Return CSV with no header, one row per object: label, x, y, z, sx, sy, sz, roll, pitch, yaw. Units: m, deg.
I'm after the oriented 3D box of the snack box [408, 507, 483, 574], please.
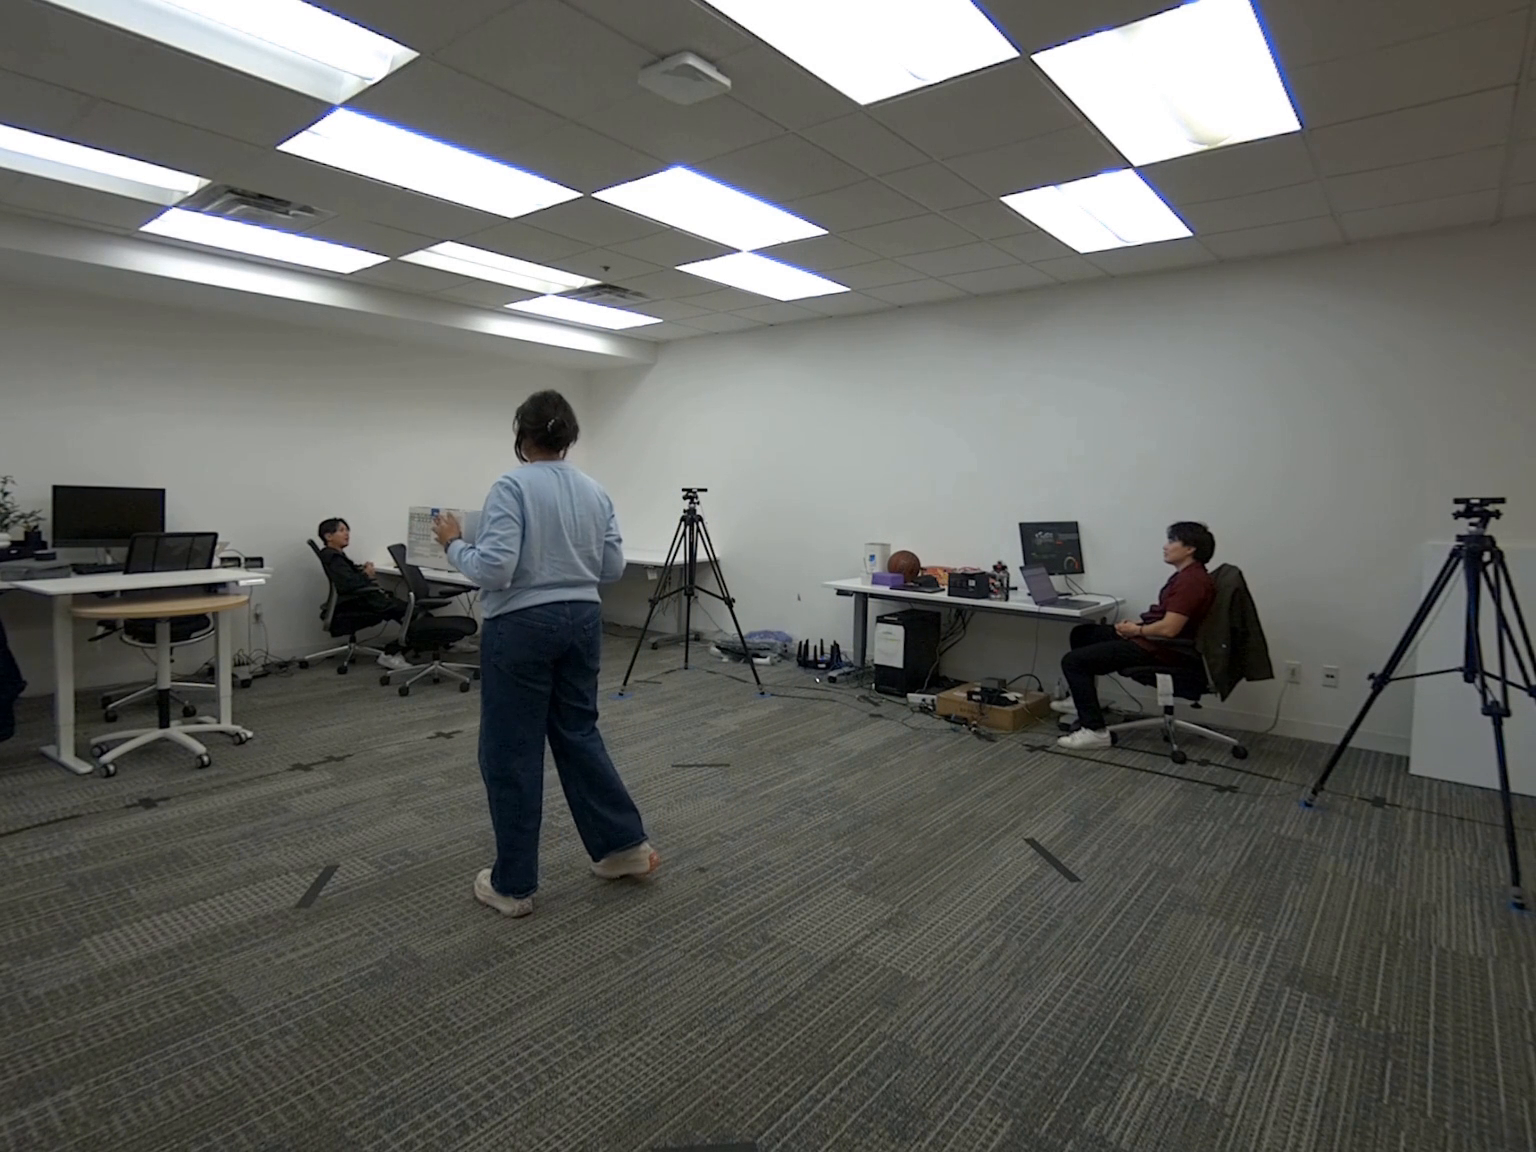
snack box,-1.005,-0.130,3.008,0.352,0.205,0.393,6,4,37
